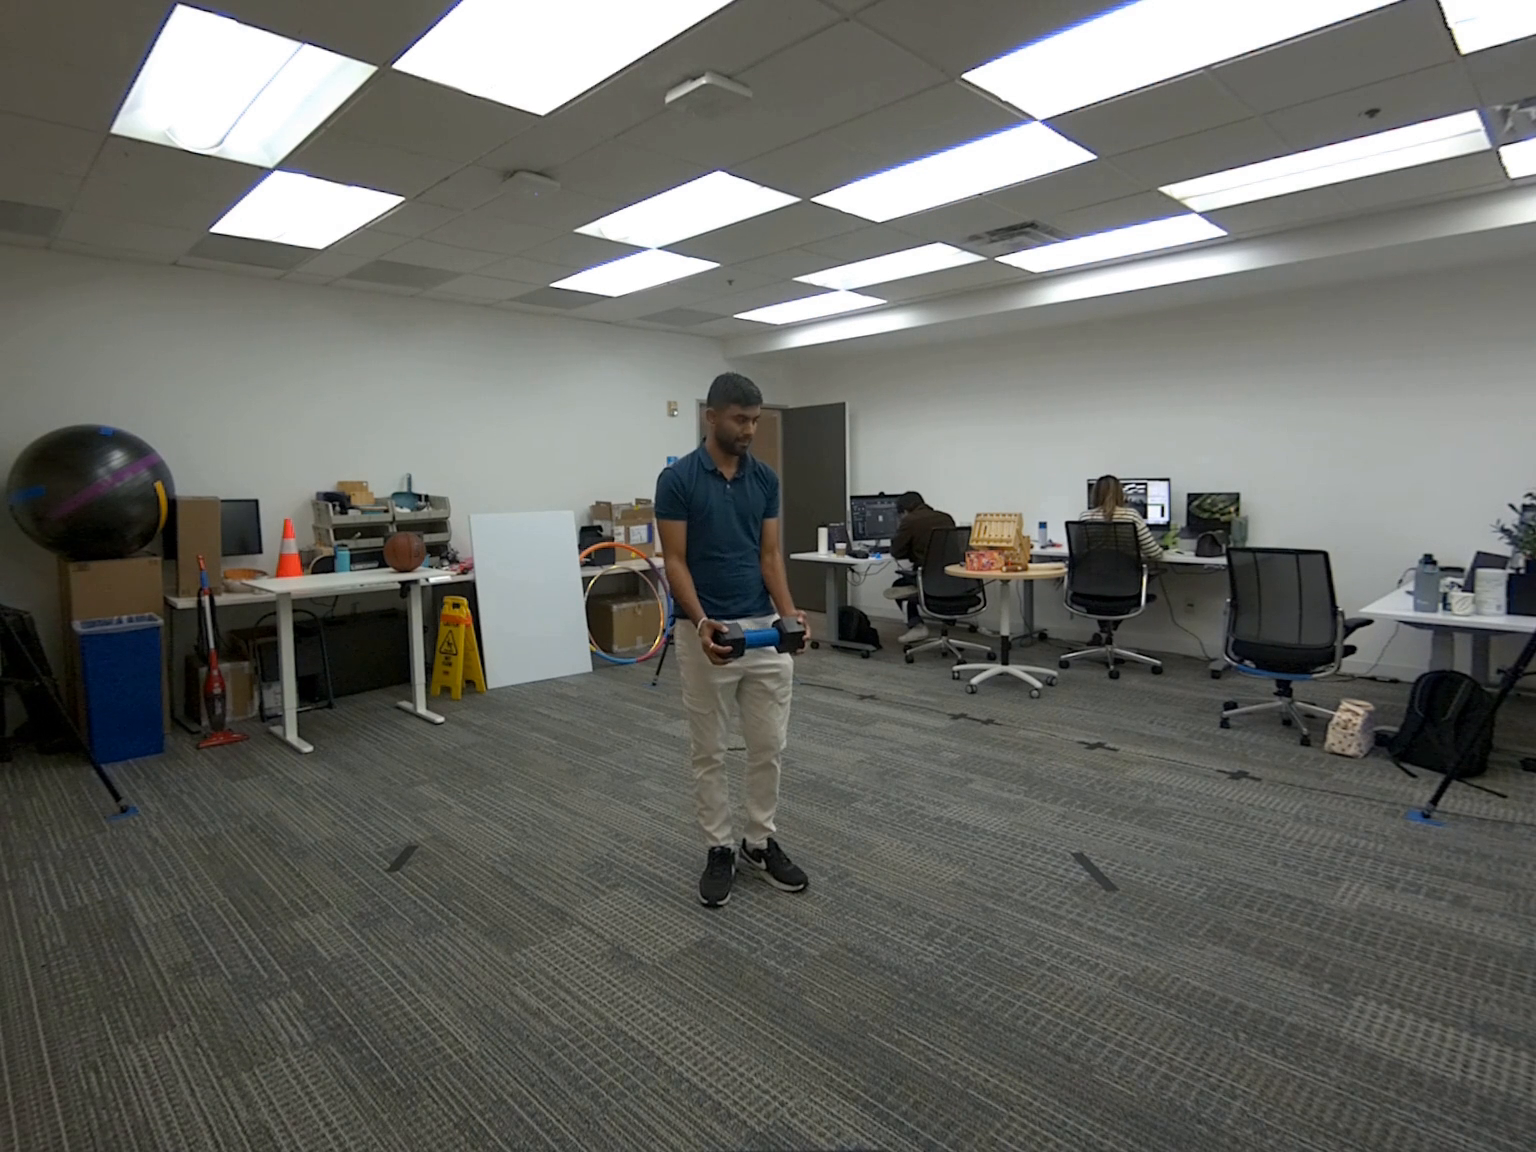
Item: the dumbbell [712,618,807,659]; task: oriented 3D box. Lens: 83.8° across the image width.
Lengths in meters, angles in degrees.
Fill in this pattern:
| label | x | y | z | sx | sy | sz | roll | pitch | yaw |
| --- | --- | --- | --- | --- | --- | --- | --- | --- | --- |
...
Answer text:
| label | x | y | z | sx | sy | sz | roll | pitch | yaw |
| --- | --- | --- | --- | --- | --- | --- | --- | --- | --- |
| dumbbell | -0.038 | 0.188 | 2.699 | 0.288 | 0.121 | 0.112 | -3 | 18 | -24 |
